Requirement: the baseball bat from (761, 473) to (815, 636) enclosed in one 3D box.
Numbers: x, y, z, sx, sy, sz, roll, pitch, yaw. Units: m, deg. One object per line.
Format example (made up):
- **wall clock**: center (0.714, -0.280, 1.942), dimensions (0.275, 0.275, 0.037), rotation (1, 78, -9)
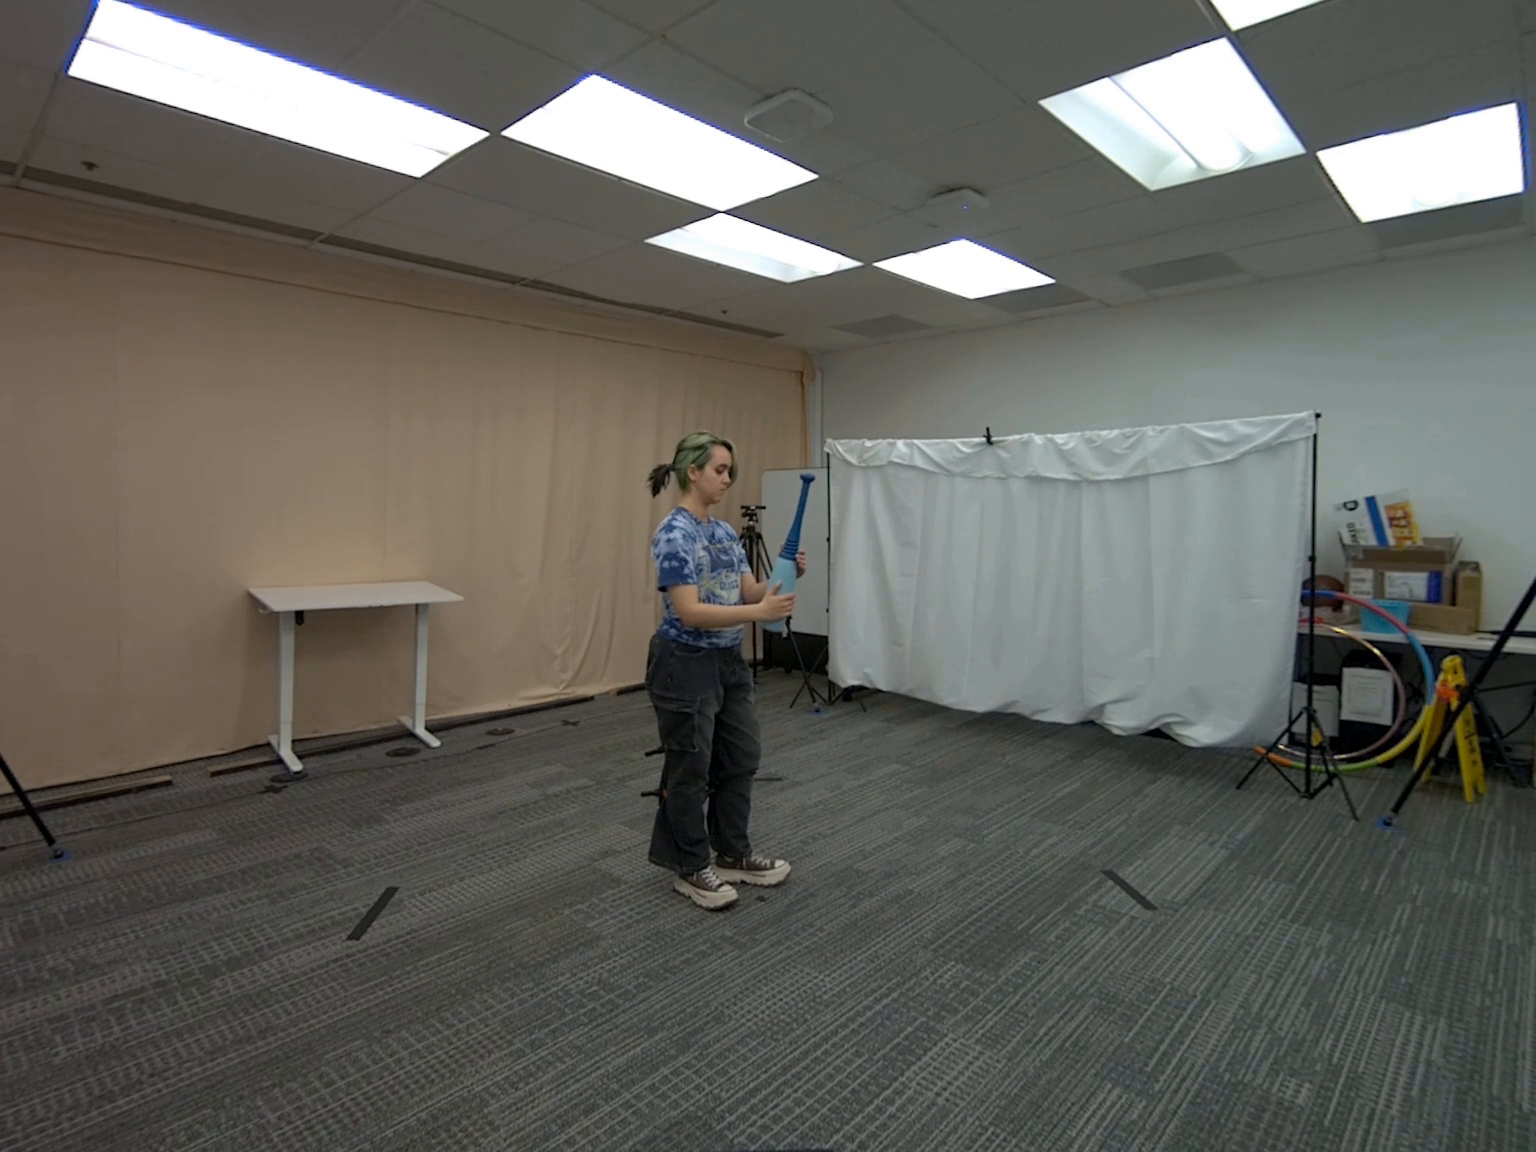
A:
- **baseball bat**: center (0.073, -0.084, 2.825), dimensions (0.089, 0.541, 0.090), rotation (15, 8, -4)
